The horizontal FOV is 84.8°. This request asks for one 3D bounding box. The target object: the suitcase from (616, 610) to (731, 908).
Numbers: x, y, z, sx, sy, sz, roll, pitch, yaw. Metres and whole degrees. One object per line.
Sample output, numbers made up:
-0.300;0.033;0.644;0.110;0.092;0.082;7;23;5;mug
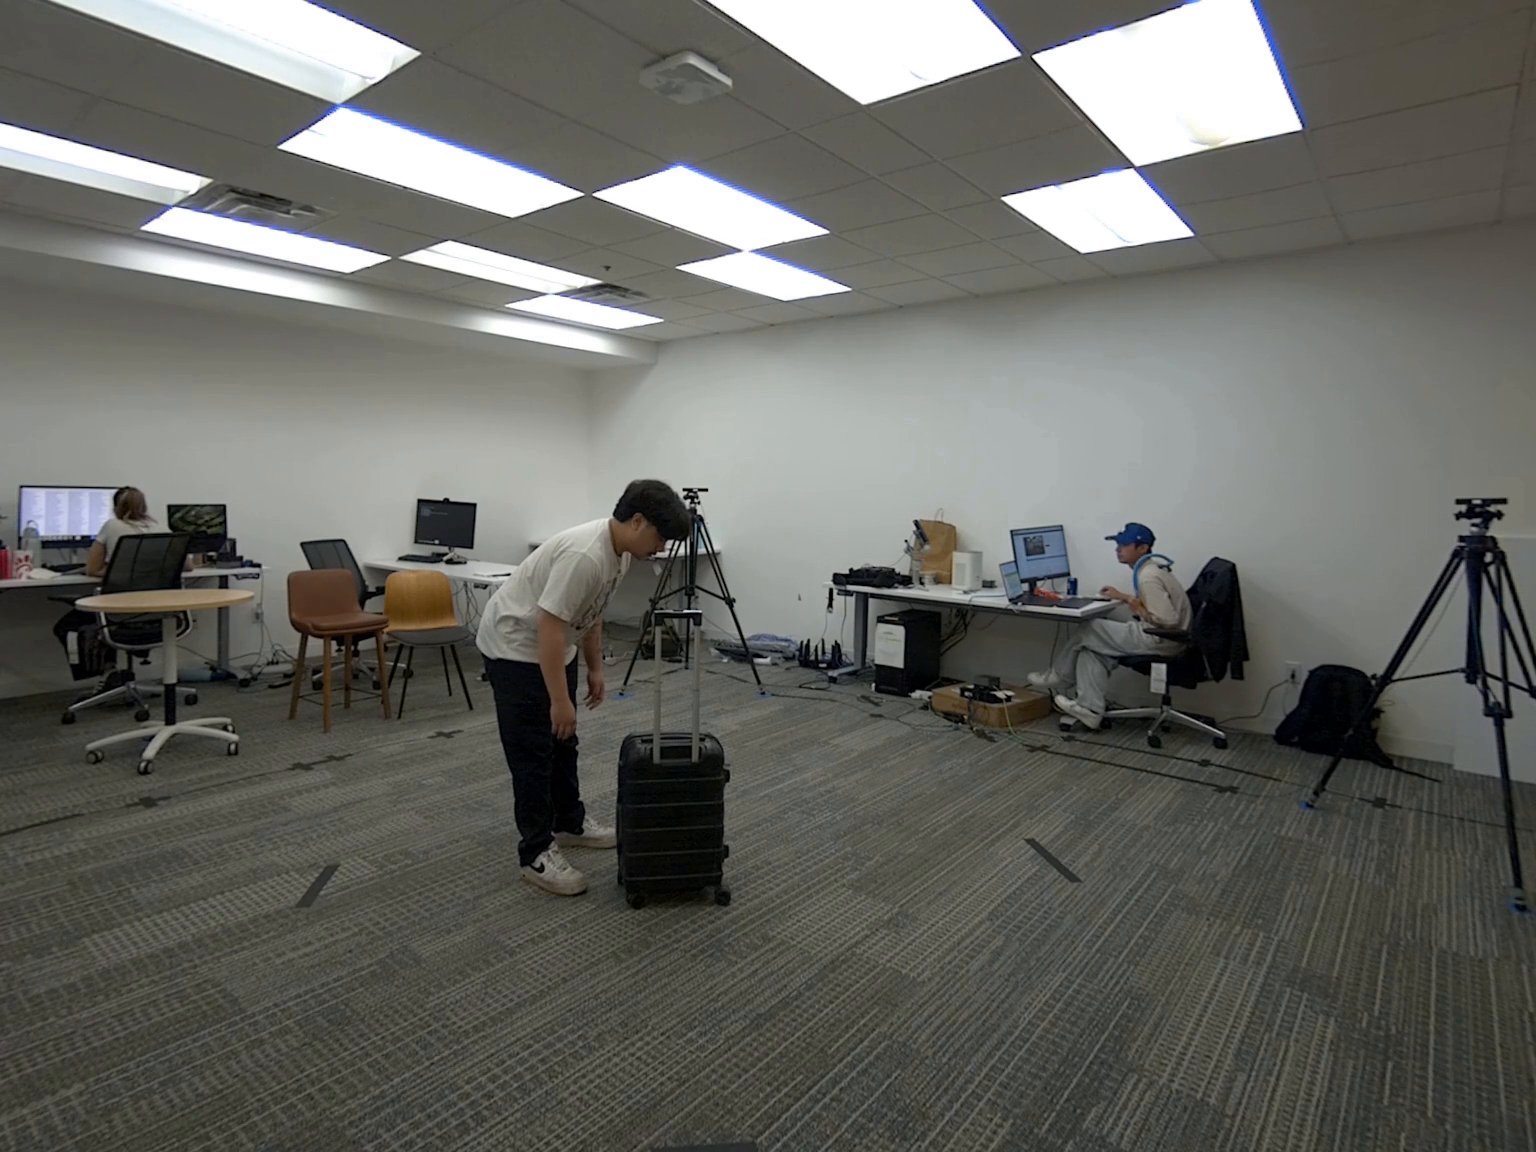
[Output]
-0.340;0.609;2.912;0.381;0.979;0.259;1;0;-9;suitcase
